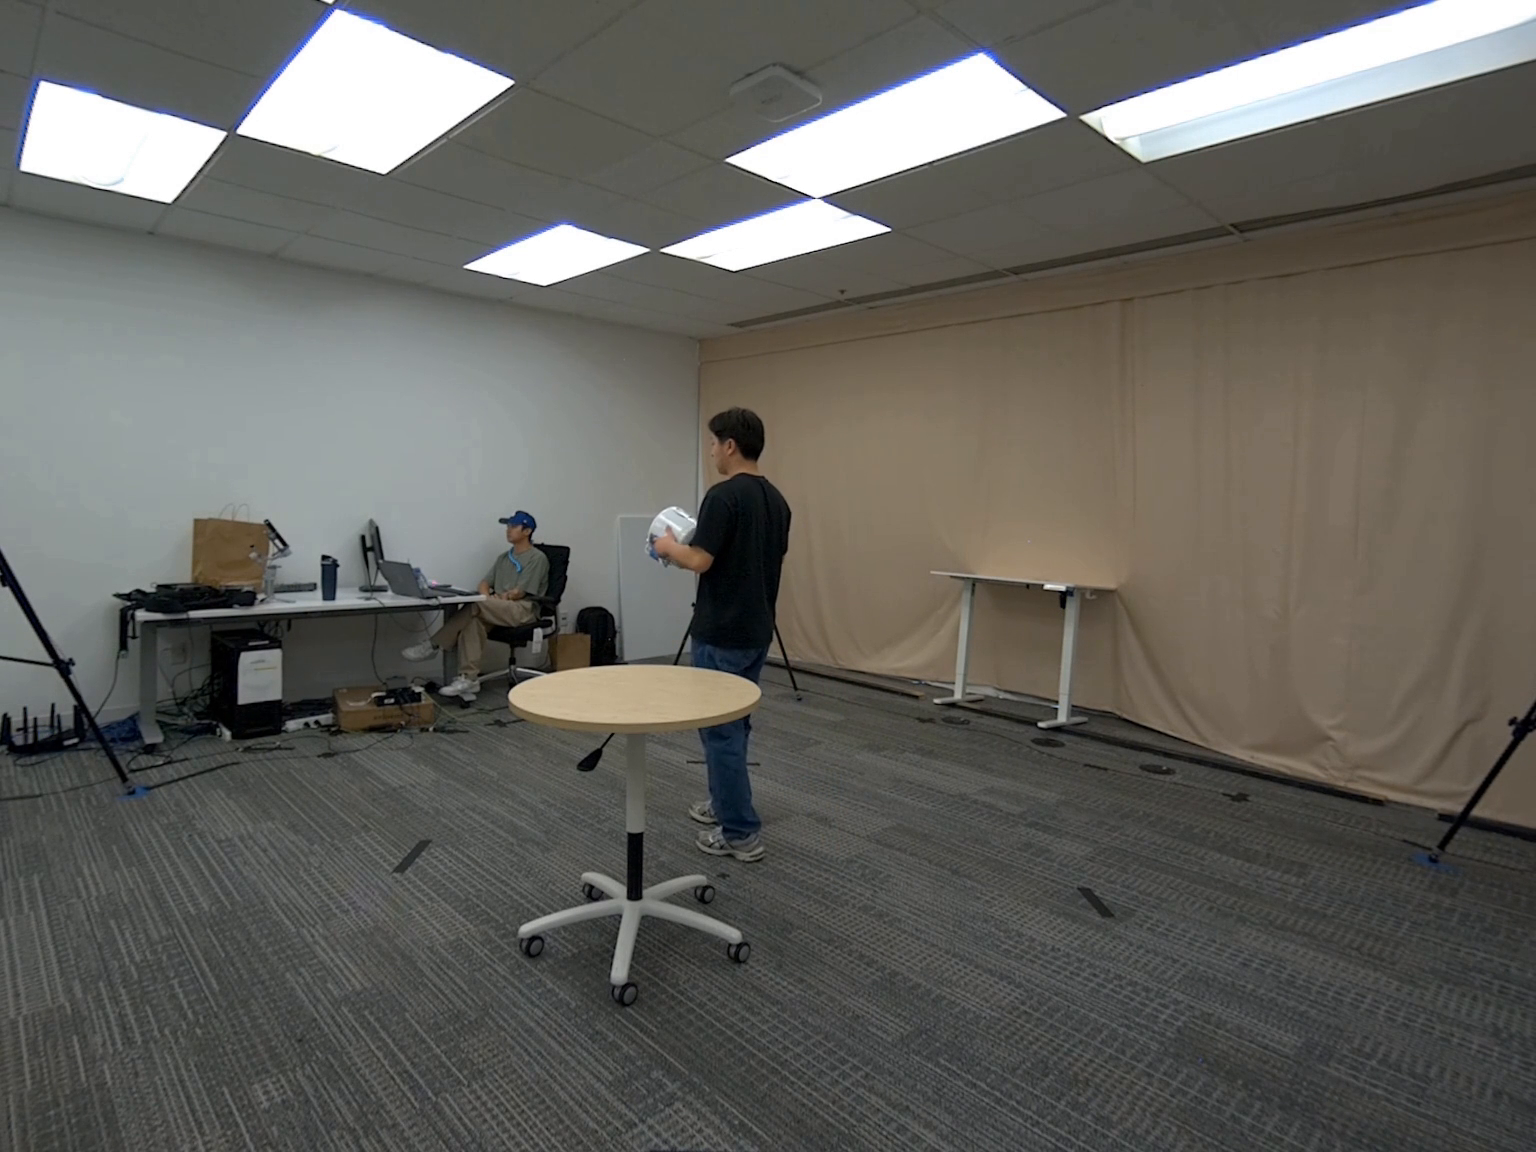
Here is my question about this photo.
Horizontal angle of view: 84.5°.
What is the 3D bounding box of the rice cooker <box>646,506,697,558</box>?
[{"bbox_3d":[-0.367,-0.153,3.525,0.239,0.215,0.217,35,28,26],"label":"rice cooker"}]
